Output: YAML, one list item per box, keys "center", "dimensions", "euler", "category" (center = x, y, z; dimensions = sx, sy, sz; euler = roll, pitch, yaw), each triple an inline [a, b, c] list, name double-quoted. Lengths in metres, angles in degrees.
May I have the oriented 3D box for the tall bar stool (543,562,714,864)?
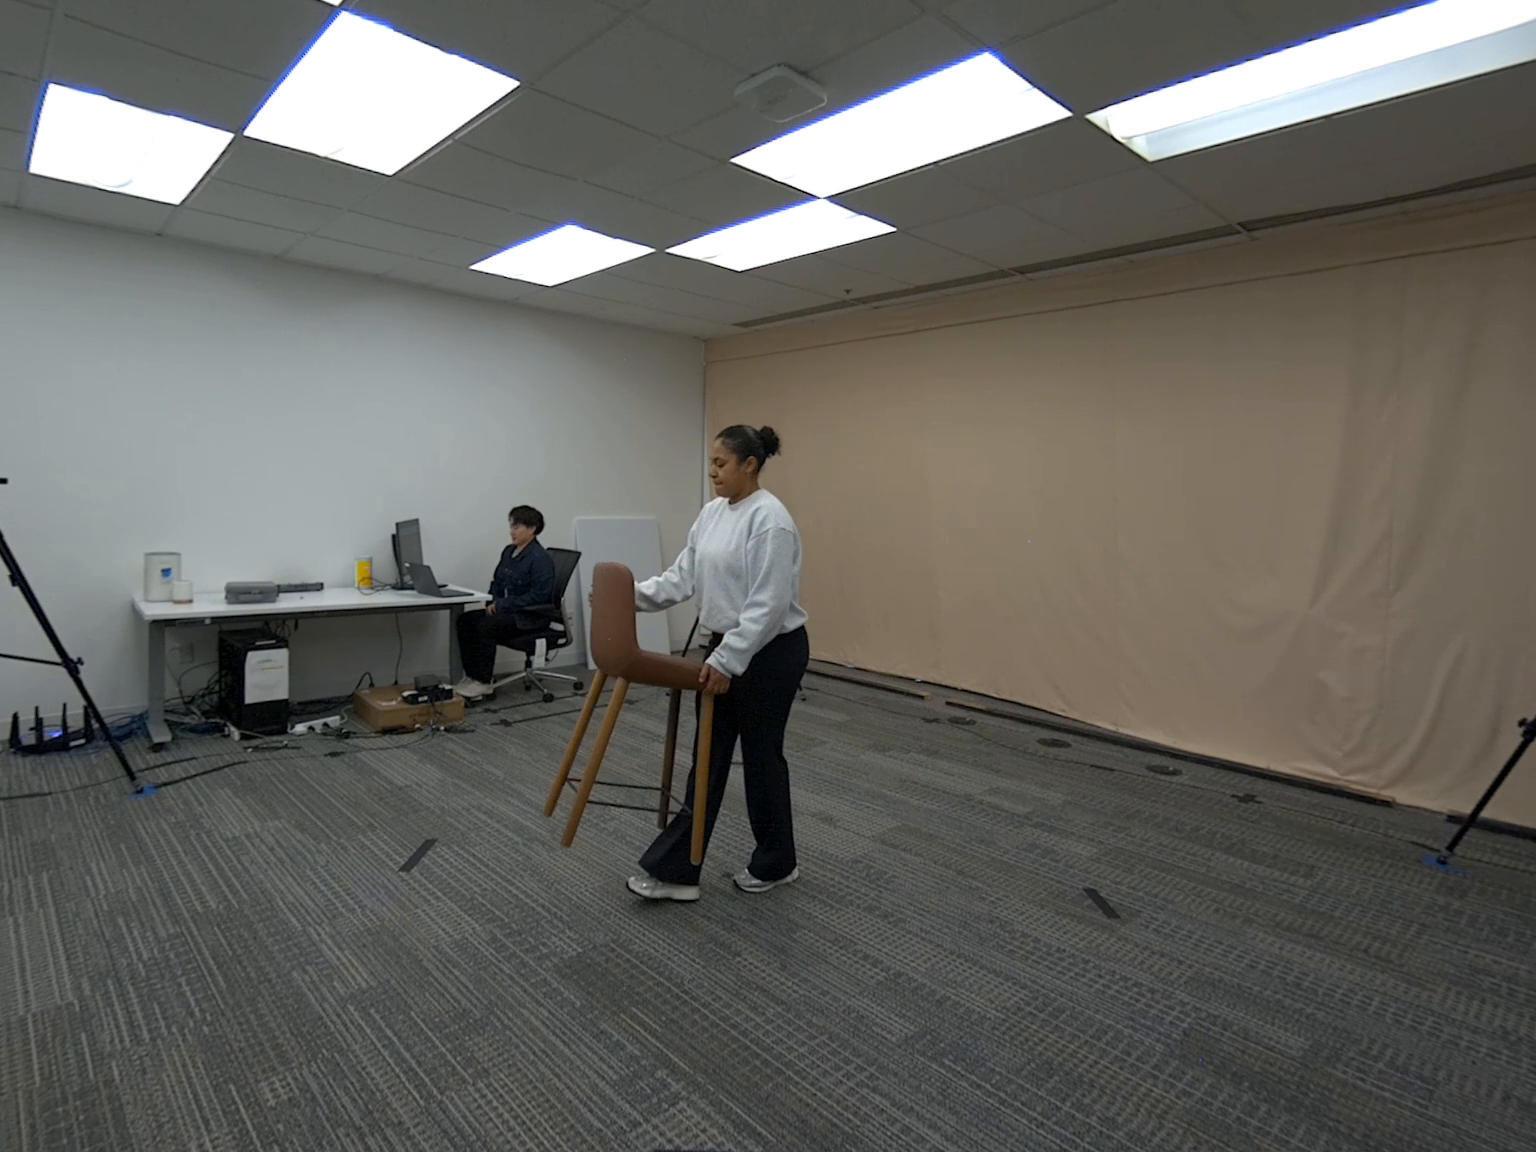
- center: [-0.426, 0.440, 2.812]
  dimensions: [0.459, 0.893, 0.463]
  euler: [12, -7, -22]
  category: "tall bar stool"
